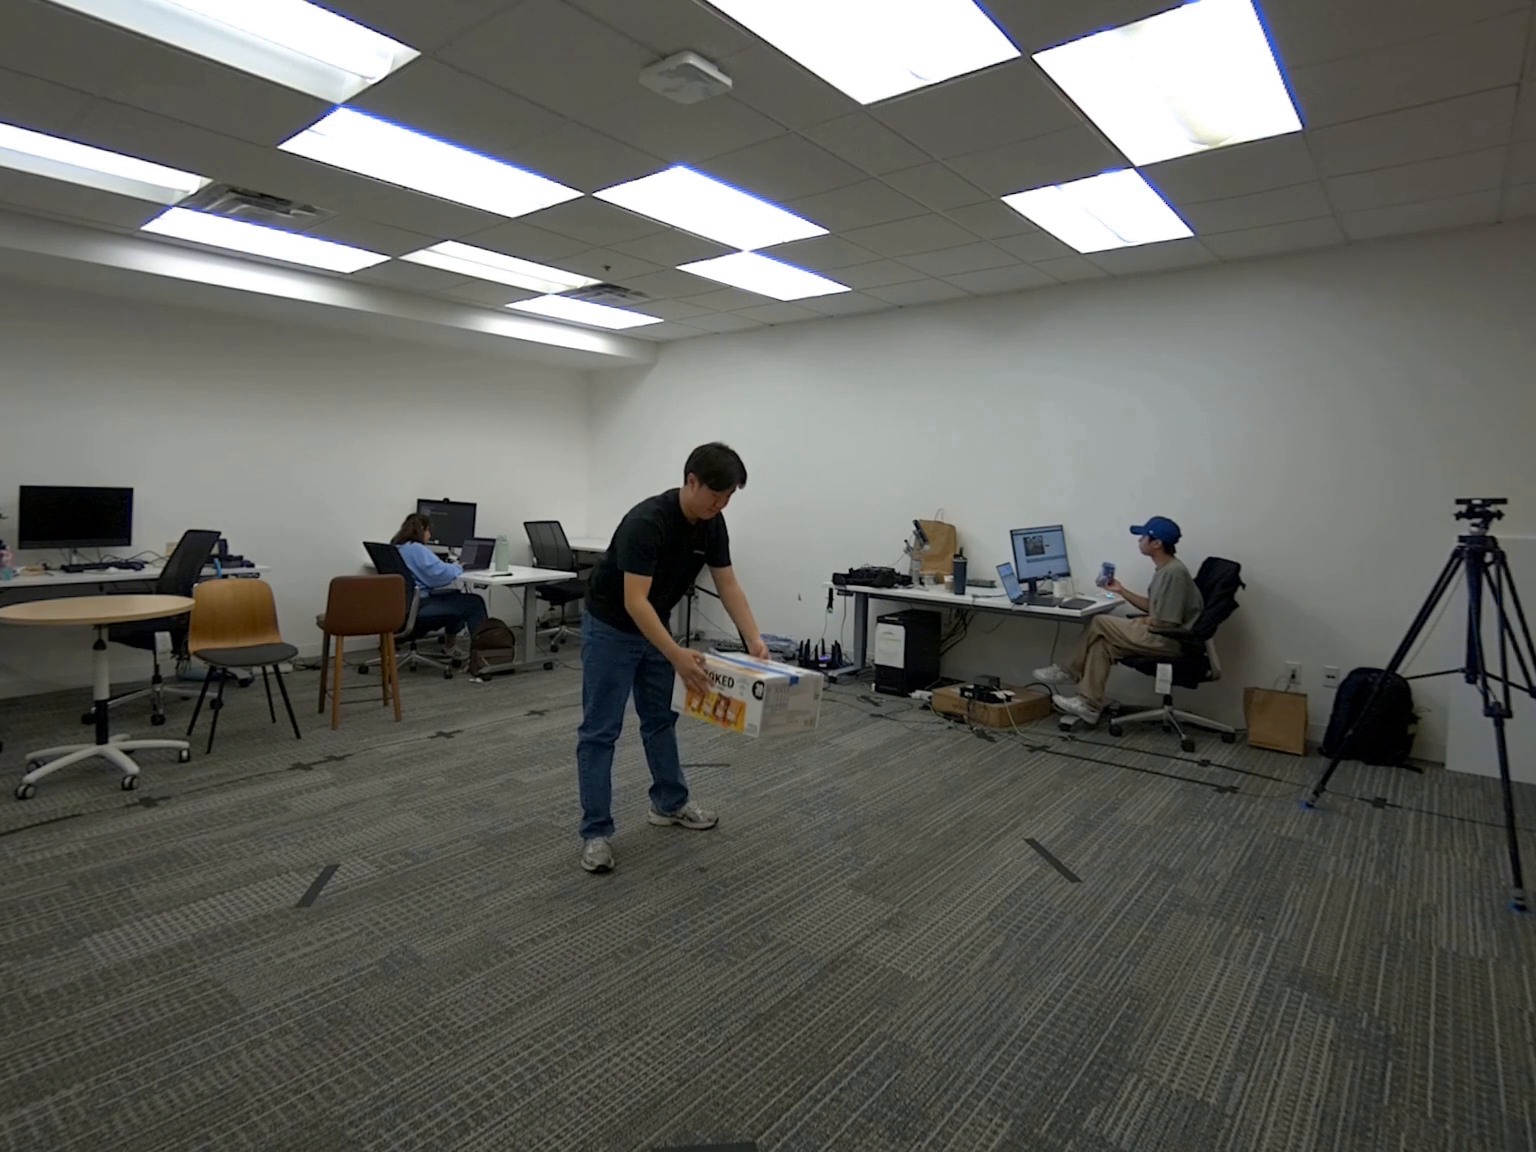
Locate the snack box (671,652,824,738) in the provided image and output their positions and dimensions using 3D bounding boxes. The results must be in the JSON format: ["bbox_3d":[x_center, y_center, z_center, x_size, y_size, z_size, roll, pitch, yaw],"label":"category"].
[{"bbox_3d":[-0.079,0.410,3.039,0.419,0.205,0.329,9,4,40],"label":"snack box"}]
